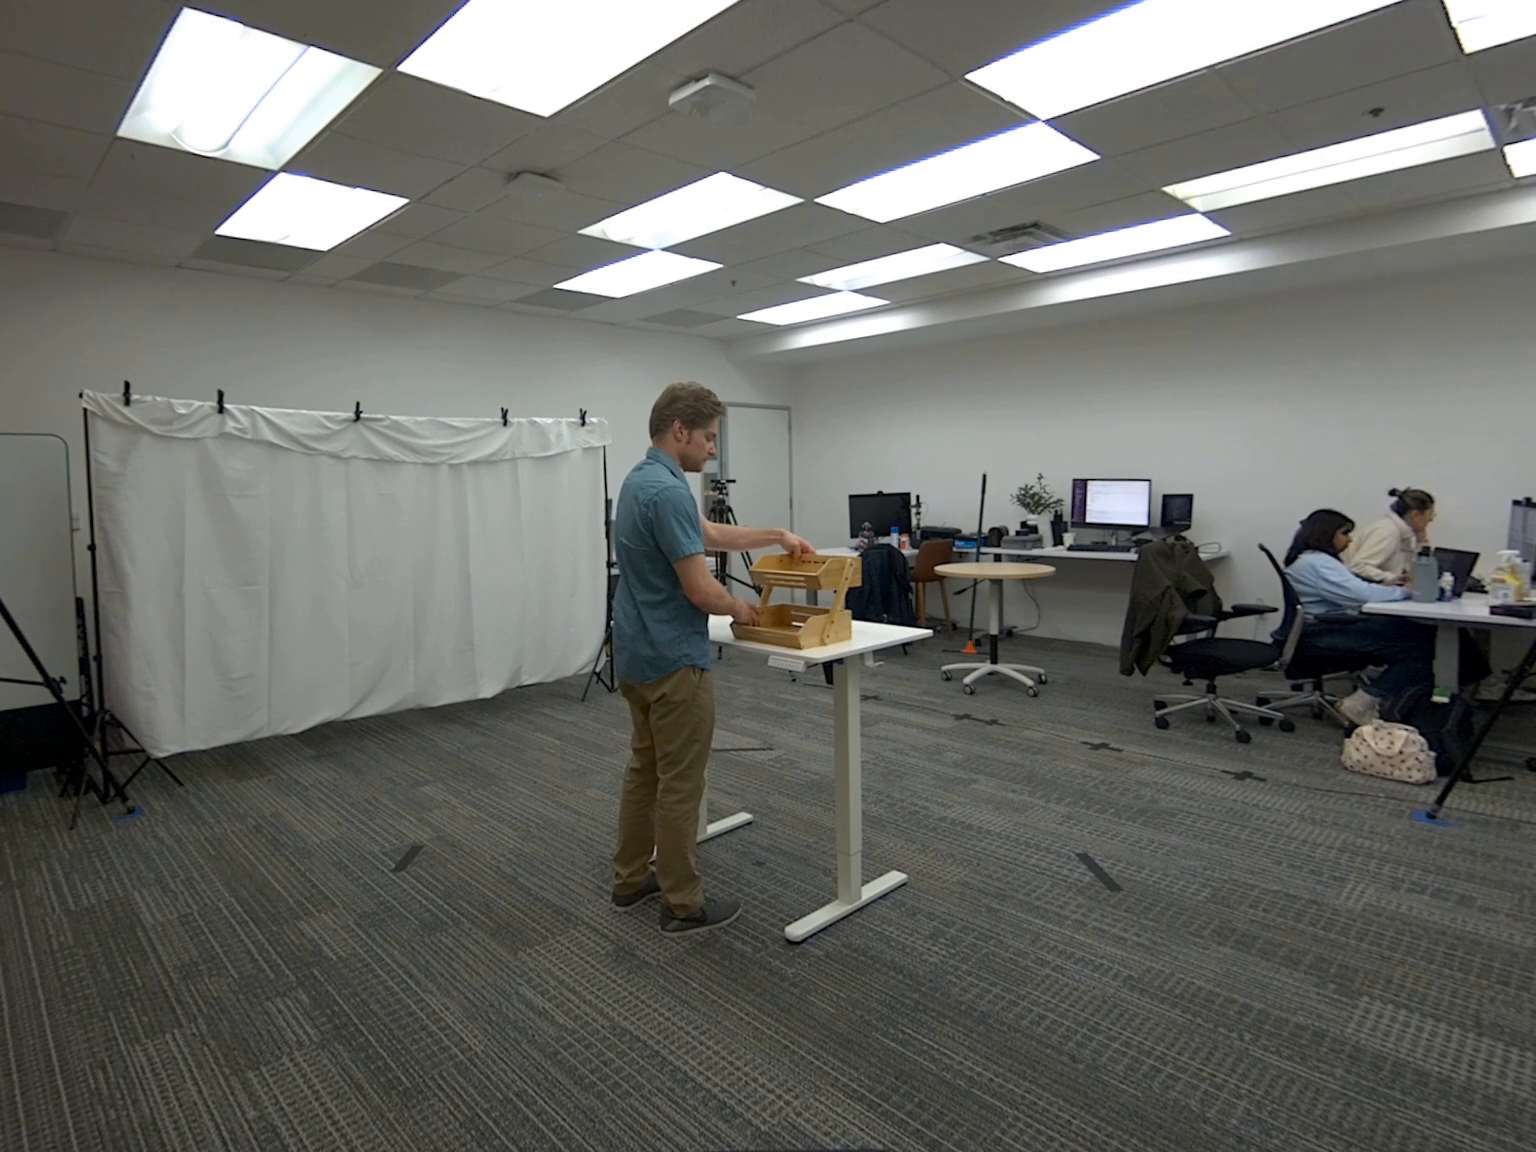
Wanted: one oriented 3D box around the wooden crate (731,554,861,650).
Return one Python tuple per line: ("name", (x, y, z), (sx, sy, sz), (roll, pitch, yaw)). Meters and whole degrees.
("wooden crate", (0.091, 0.069, 2.741), (0.334, 0.272, 0.294), (3, 6, 45))
